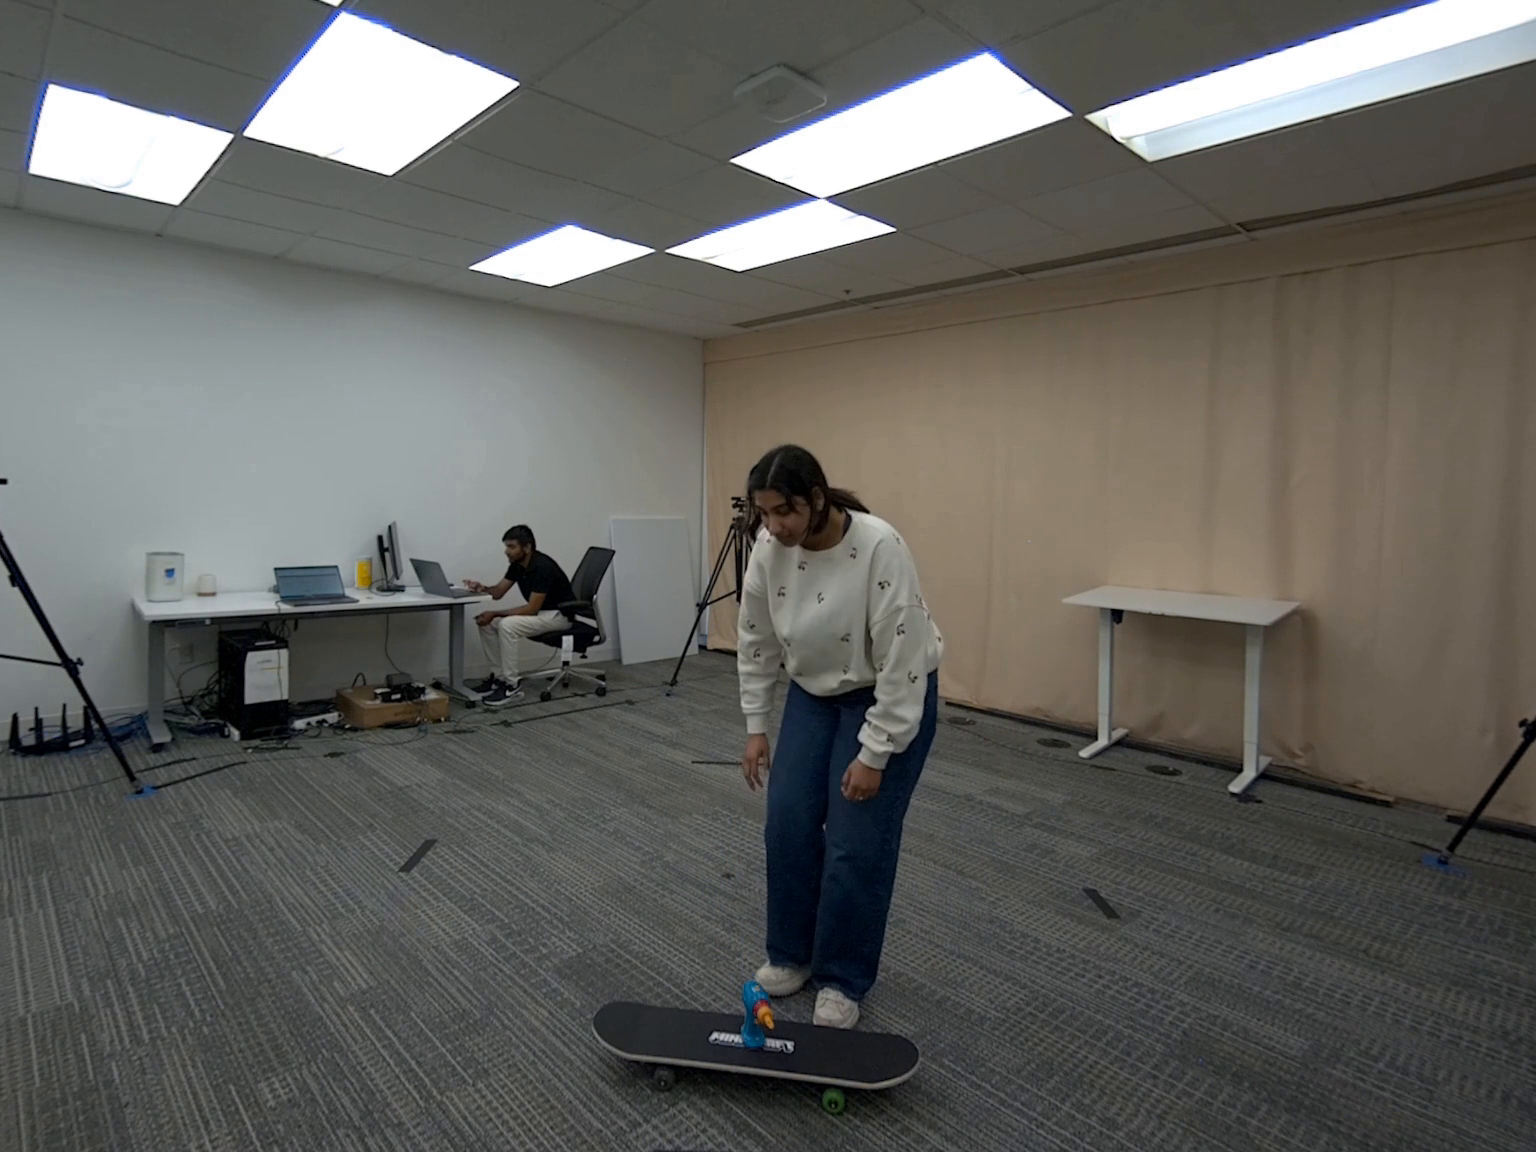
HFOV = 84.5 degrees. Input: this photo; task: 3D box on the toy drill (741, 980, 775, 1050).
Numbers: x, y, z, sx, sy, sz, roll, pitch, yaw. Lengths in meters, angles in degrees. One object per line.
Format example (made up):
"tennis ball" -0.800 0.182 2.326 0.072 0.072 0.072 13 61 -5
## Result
"toy drill" -0.044 1.059 1.968 0.060 0.145 0.172 -4 7 -15
